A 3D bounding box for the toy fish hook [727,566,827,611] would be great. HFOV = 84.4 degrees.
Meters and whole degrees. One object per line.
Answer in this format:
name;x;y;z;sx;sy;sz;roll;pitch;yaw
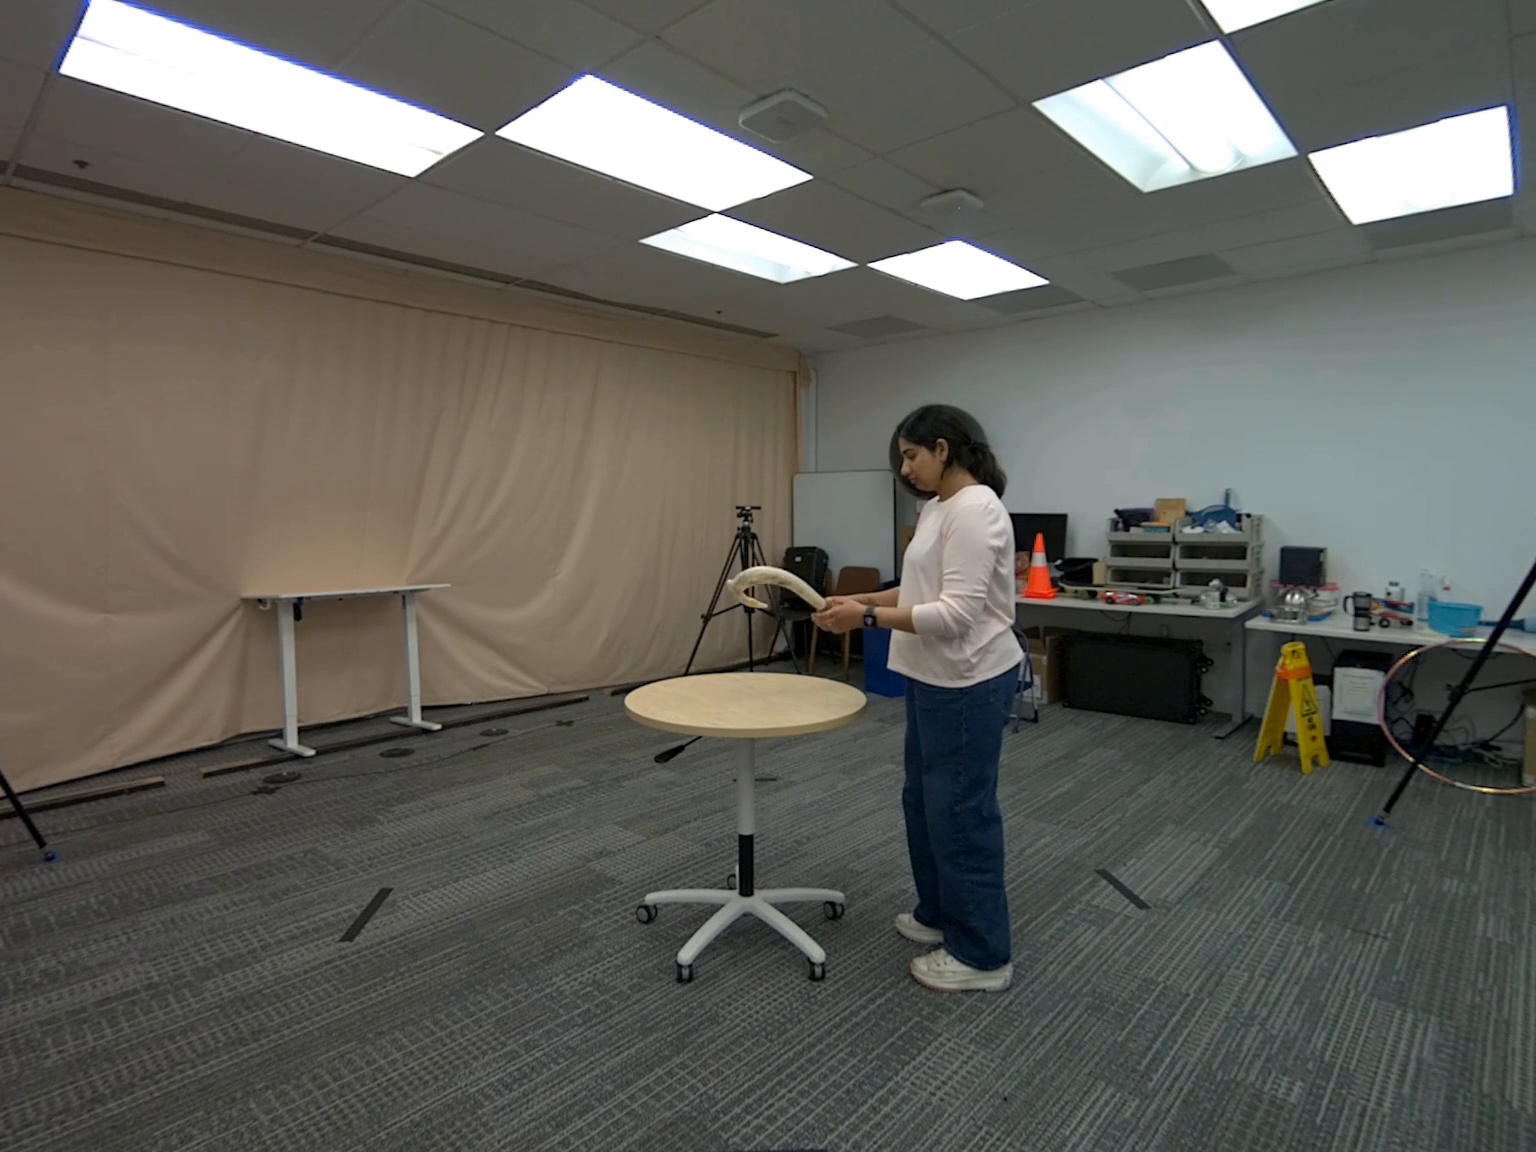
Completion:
toy fish hook;0.111;0.095;2.600;0.491;0.049;0.229;25;-33;-29
